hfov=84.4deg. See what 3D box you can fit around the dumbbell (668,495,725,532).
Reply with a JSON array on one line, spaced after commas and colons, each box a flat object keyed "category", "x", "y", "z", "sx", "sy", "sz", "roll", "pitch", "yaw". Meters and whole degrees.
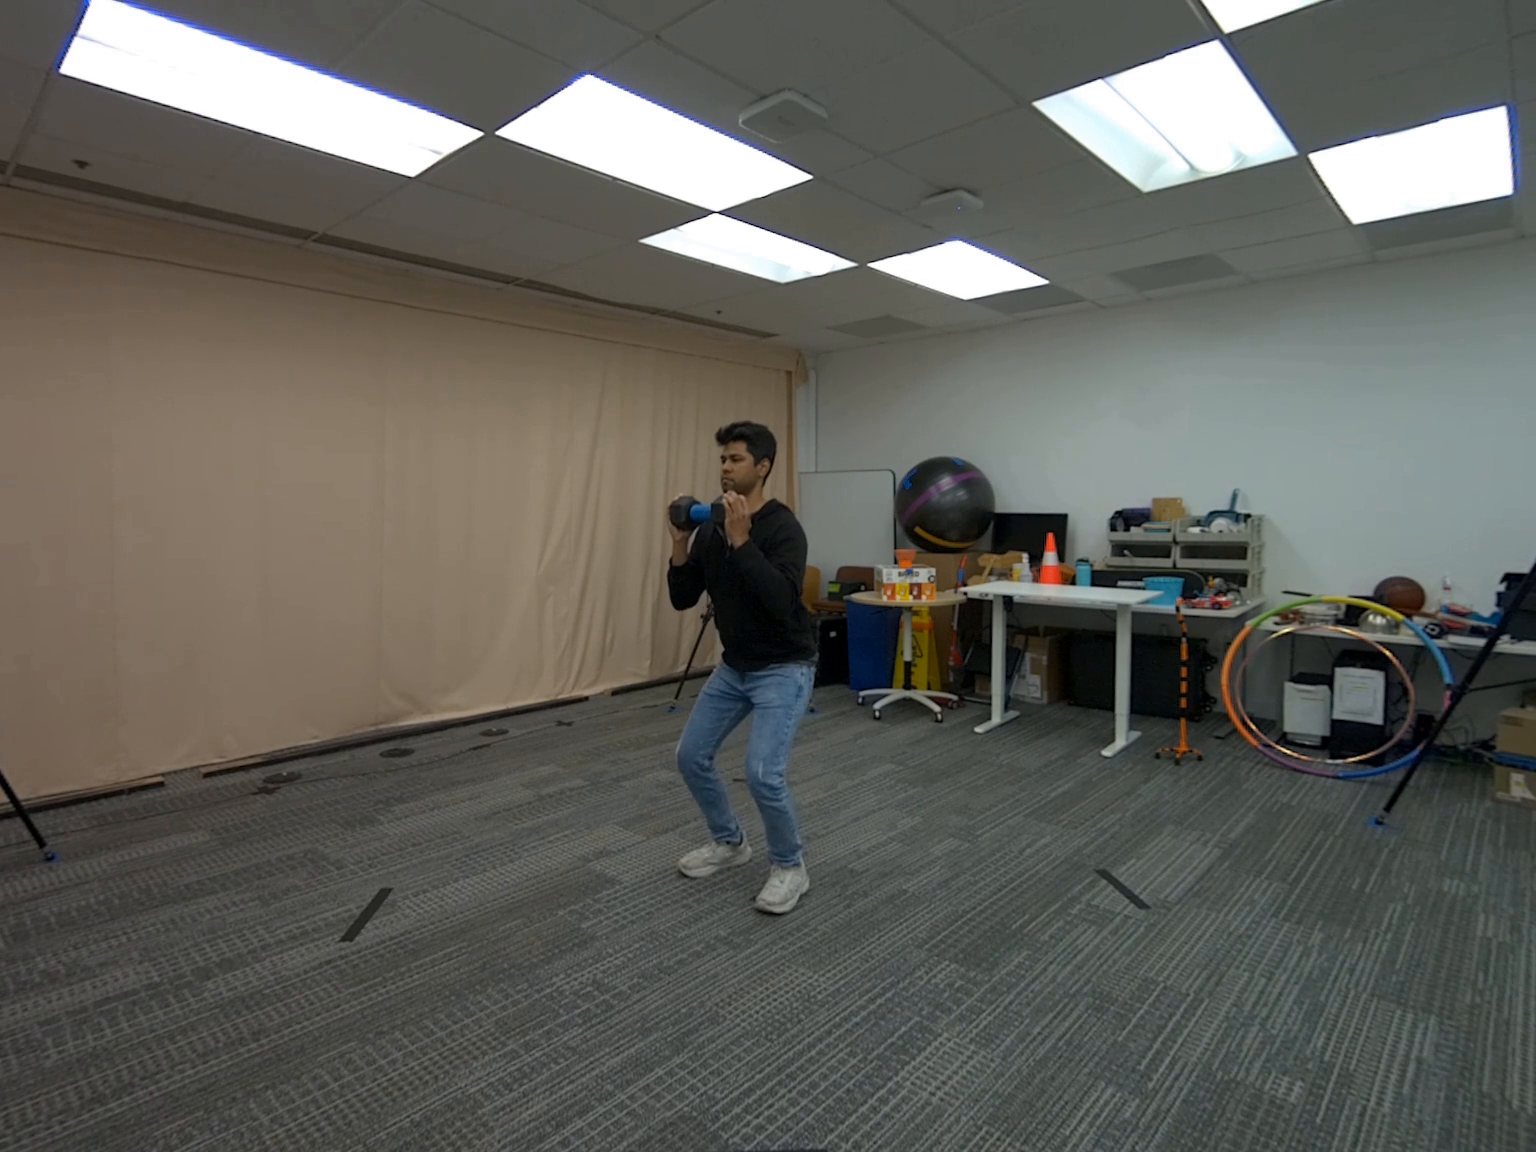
[{"category": "dumbbell", "x": -0.199, "y": -0.209, "z": 2.899, "sx": 0.105, "sy": 0.123, "sz": 0.303, "roll": -5, "pitch": 5, "yaw": -43}]
